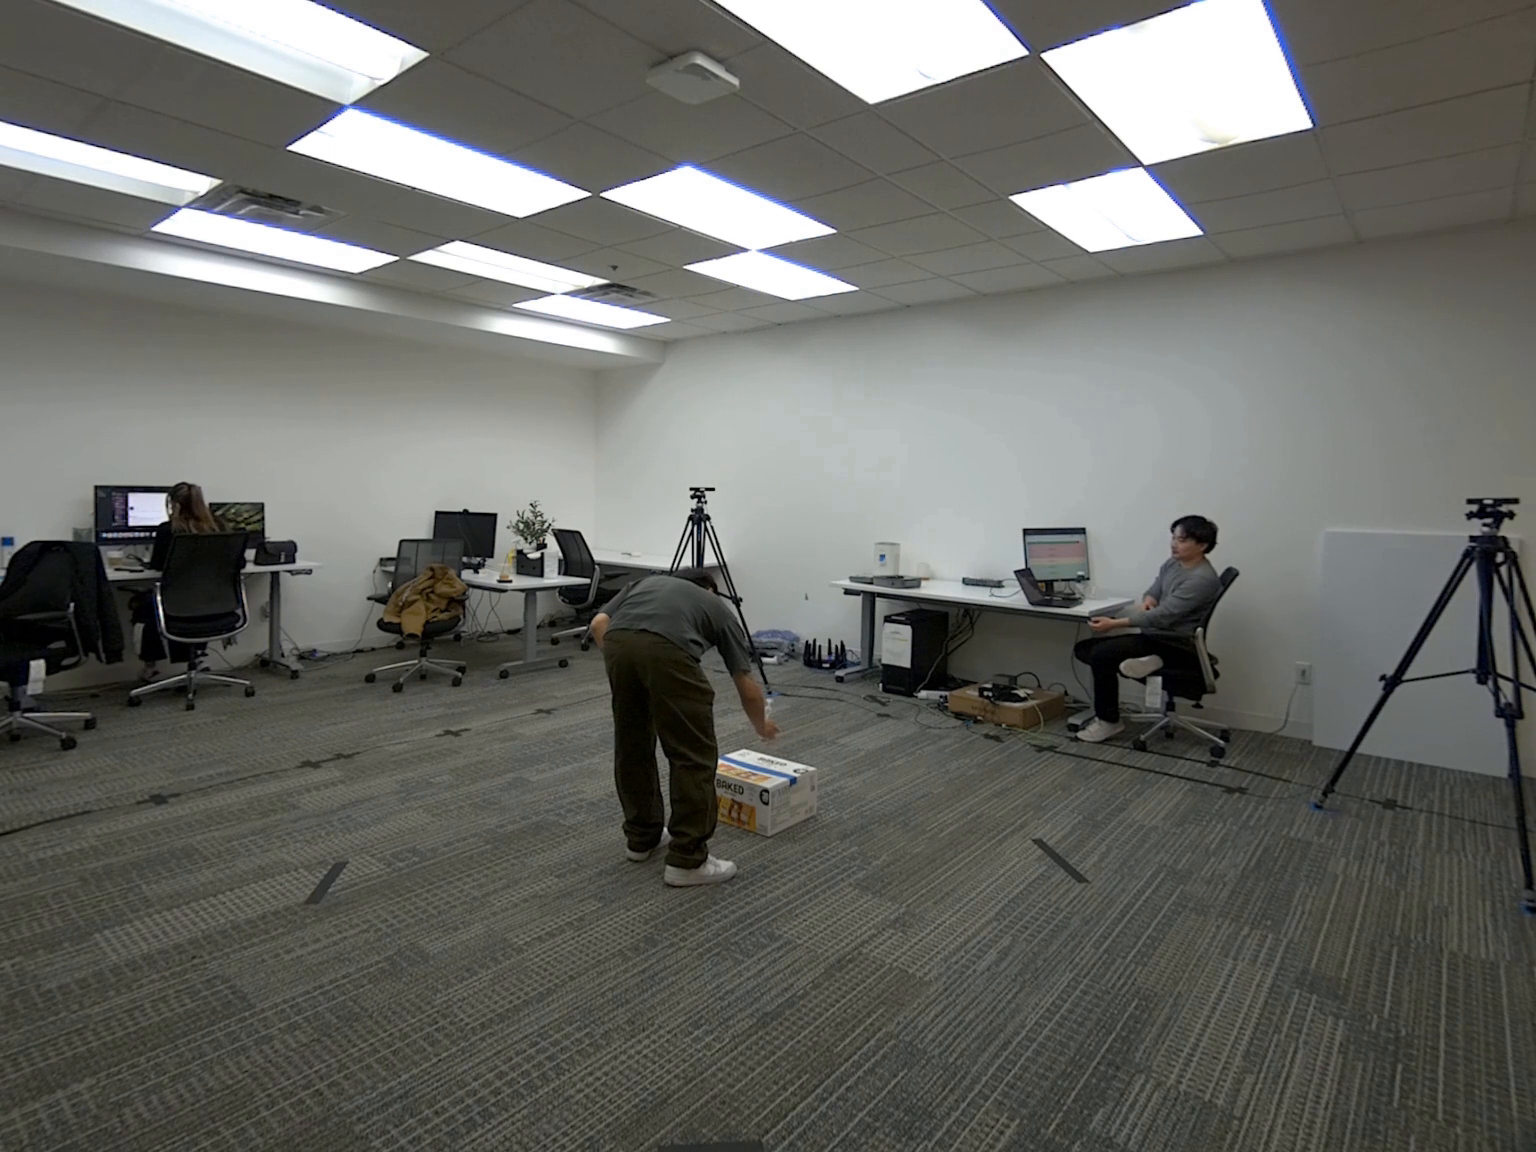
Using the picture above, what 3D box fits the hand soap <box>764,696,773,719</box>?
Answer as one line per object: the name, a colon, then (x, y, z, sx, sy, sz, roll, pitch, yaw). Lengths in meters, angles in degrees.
hand soap: (-0.022, 0.600, 3.585, 0.043, 0.168, 0.085, 8, 4, -2)
